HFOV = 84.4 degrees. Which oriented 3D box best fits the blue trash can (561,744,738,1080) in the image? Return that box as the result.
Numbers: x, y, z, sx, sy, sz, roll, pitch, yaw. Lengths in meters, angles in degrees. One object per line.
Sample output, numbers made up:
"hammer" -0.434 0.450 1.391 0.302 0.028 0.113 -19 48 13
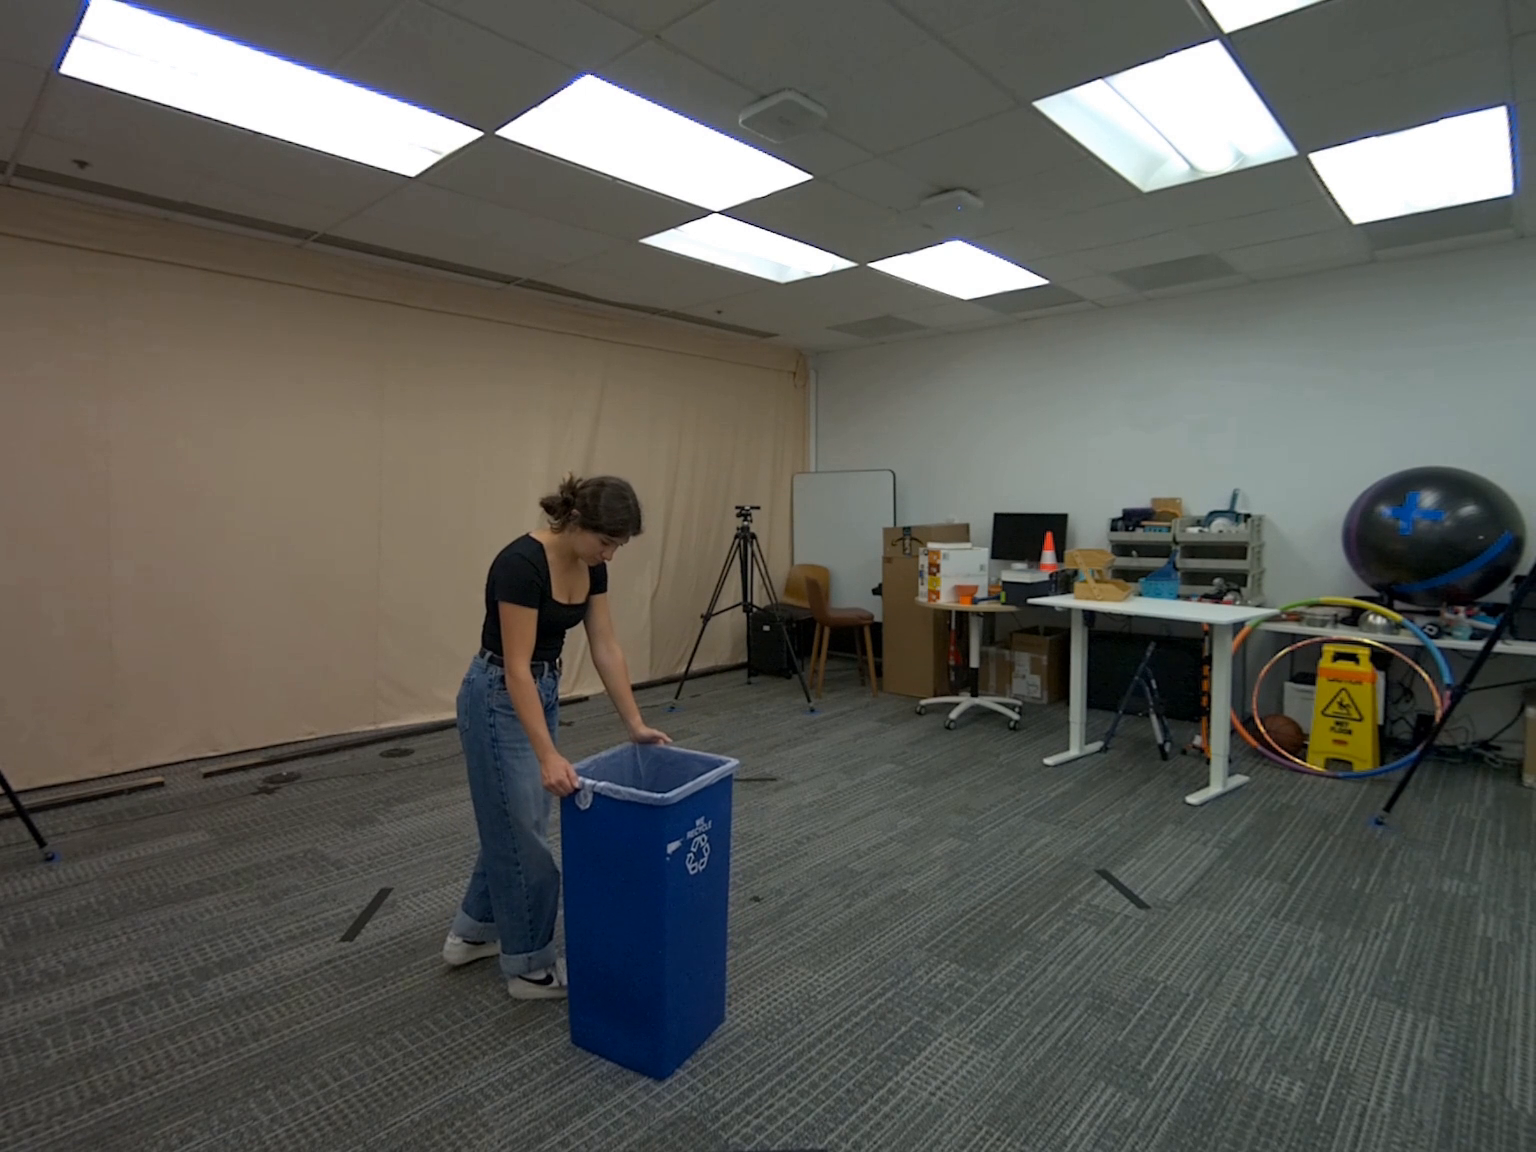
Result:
"blue trash can" -0.314 0.853 2.220 0.389 0.712 0.364 2 4 29
